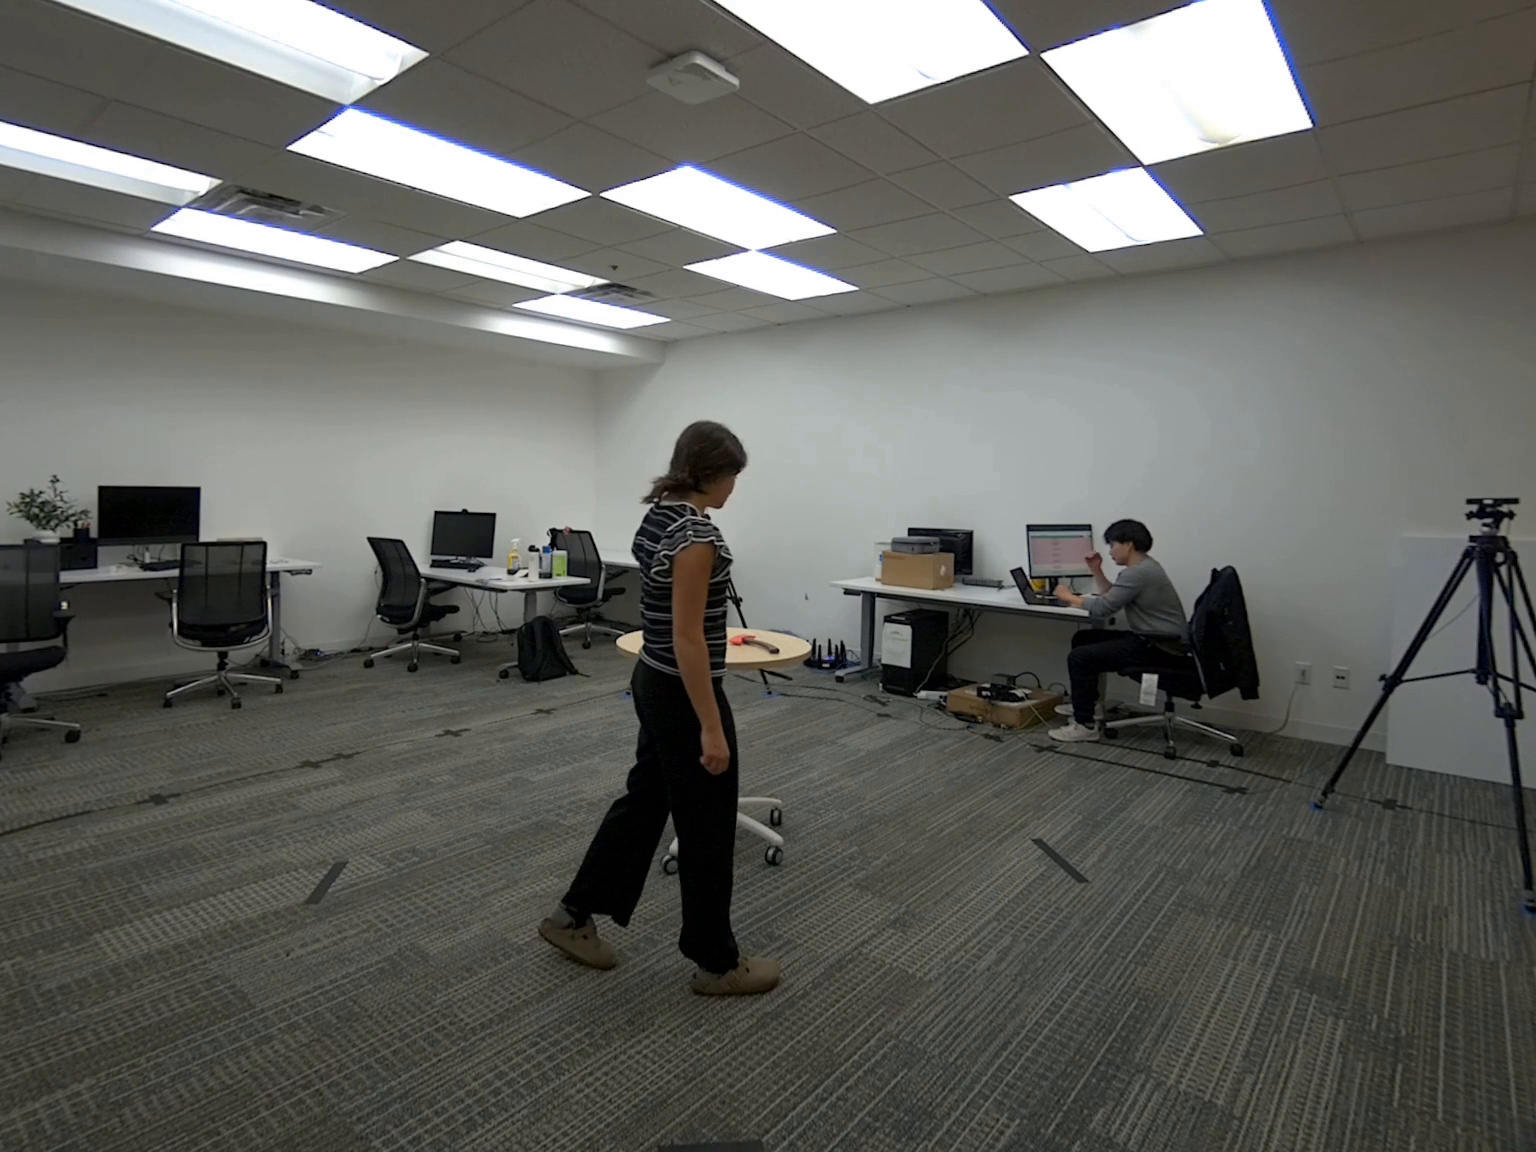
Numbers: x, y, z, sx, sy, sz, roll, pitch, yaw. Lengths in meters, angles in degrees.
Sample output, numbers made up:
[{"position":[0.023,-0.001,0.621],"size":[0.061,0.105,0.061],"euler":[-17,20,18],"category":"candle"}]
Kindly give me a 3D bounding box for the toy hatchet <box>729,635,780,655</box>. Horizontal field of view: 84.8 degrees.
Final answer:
[{"position":[-0.073,0.261,3.271],"size":[0.128,0.029,0.277],"euler":[-3,8,-20],"category":"toy hatchet"}]
